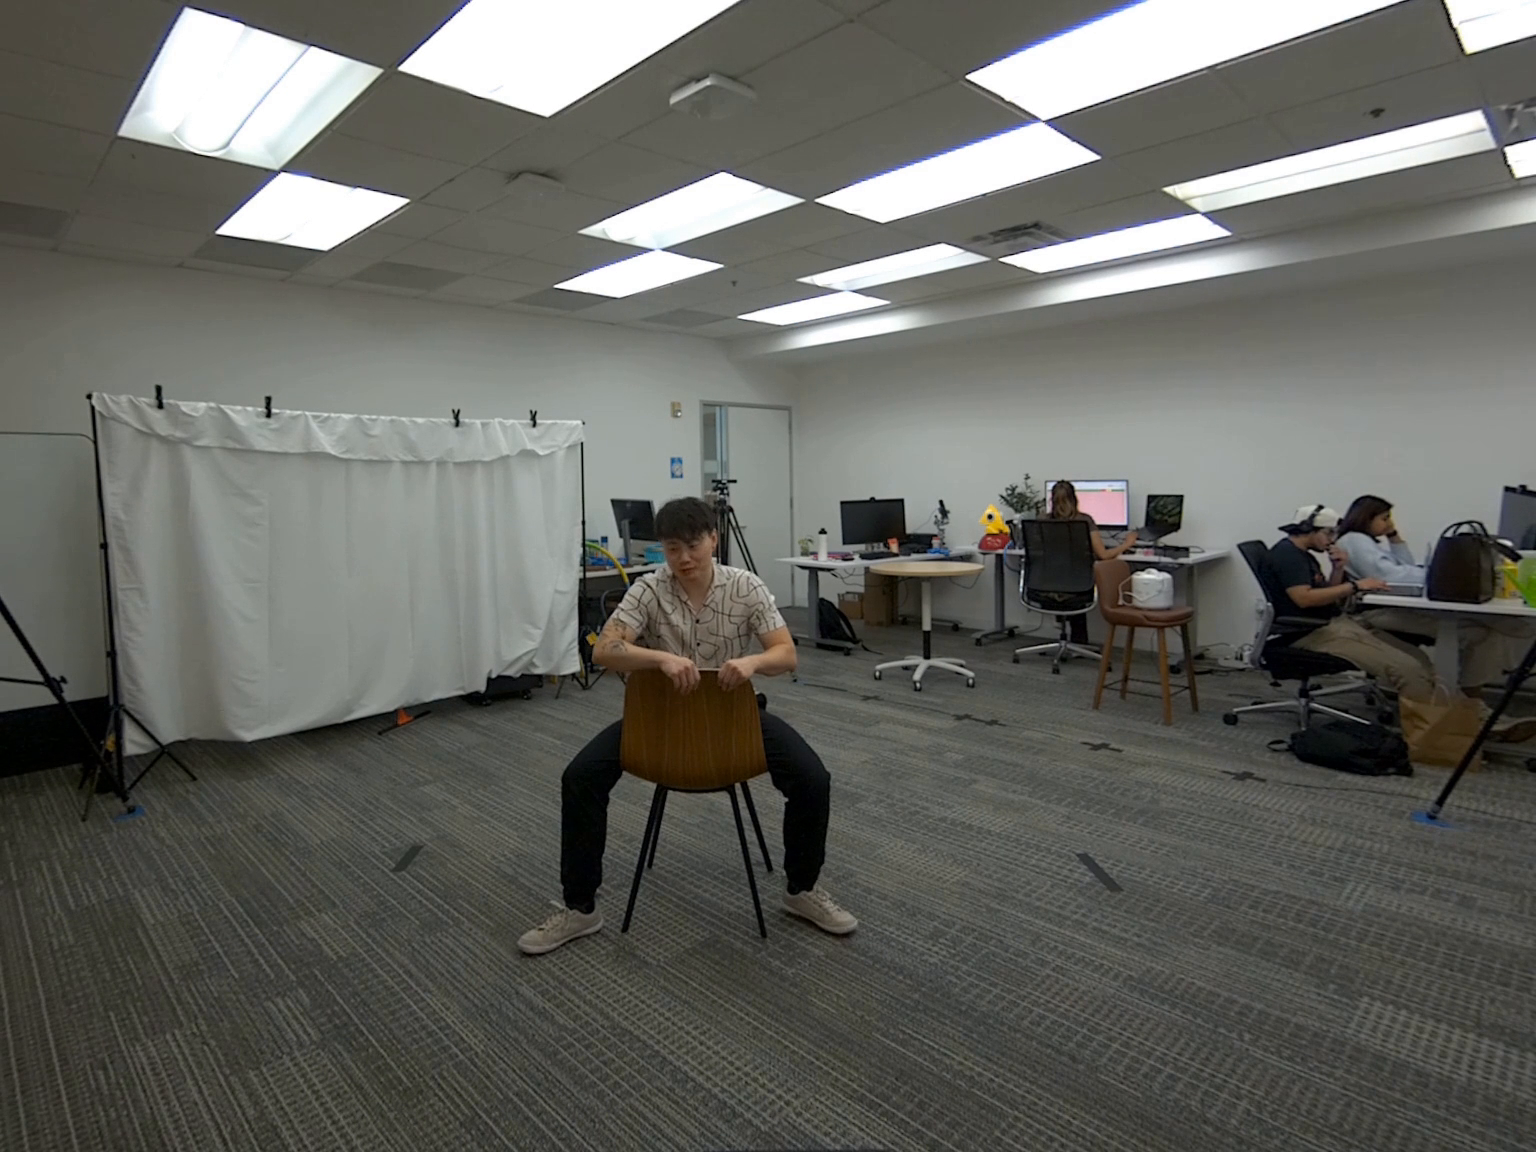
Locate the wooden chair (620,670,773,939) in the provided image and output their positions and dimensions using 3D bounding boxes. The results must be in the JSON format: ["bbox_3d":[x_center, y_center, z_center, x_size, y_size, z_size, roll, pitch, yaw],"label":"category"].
[{"bbox_3d":[-0.224,0.665,2.829,0.480,0.870,0.525,0,9,4],"label":"wooden chair"}]
